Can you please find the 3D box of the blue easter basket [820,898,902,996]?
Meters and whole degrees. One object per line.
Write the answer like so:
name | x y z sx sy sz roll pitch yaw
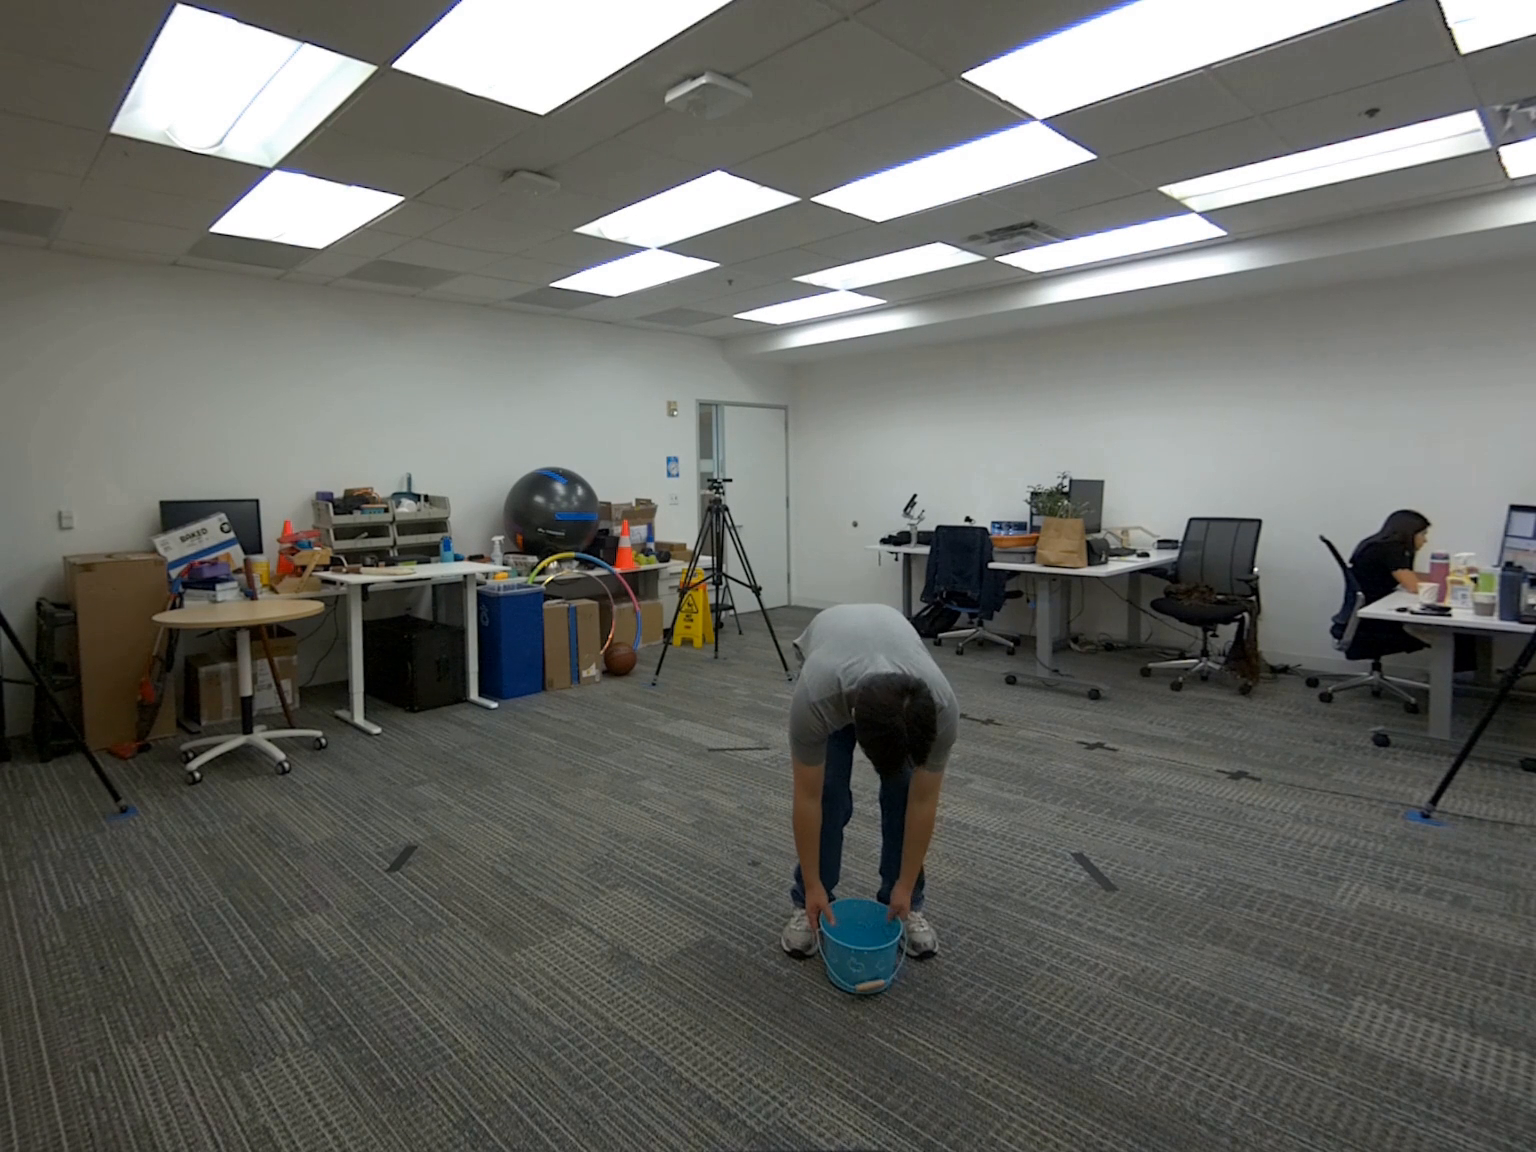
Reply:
blue easter basket | 0.265 1.023 2.367 0.243 0.155 0.246 -2 9 -1
